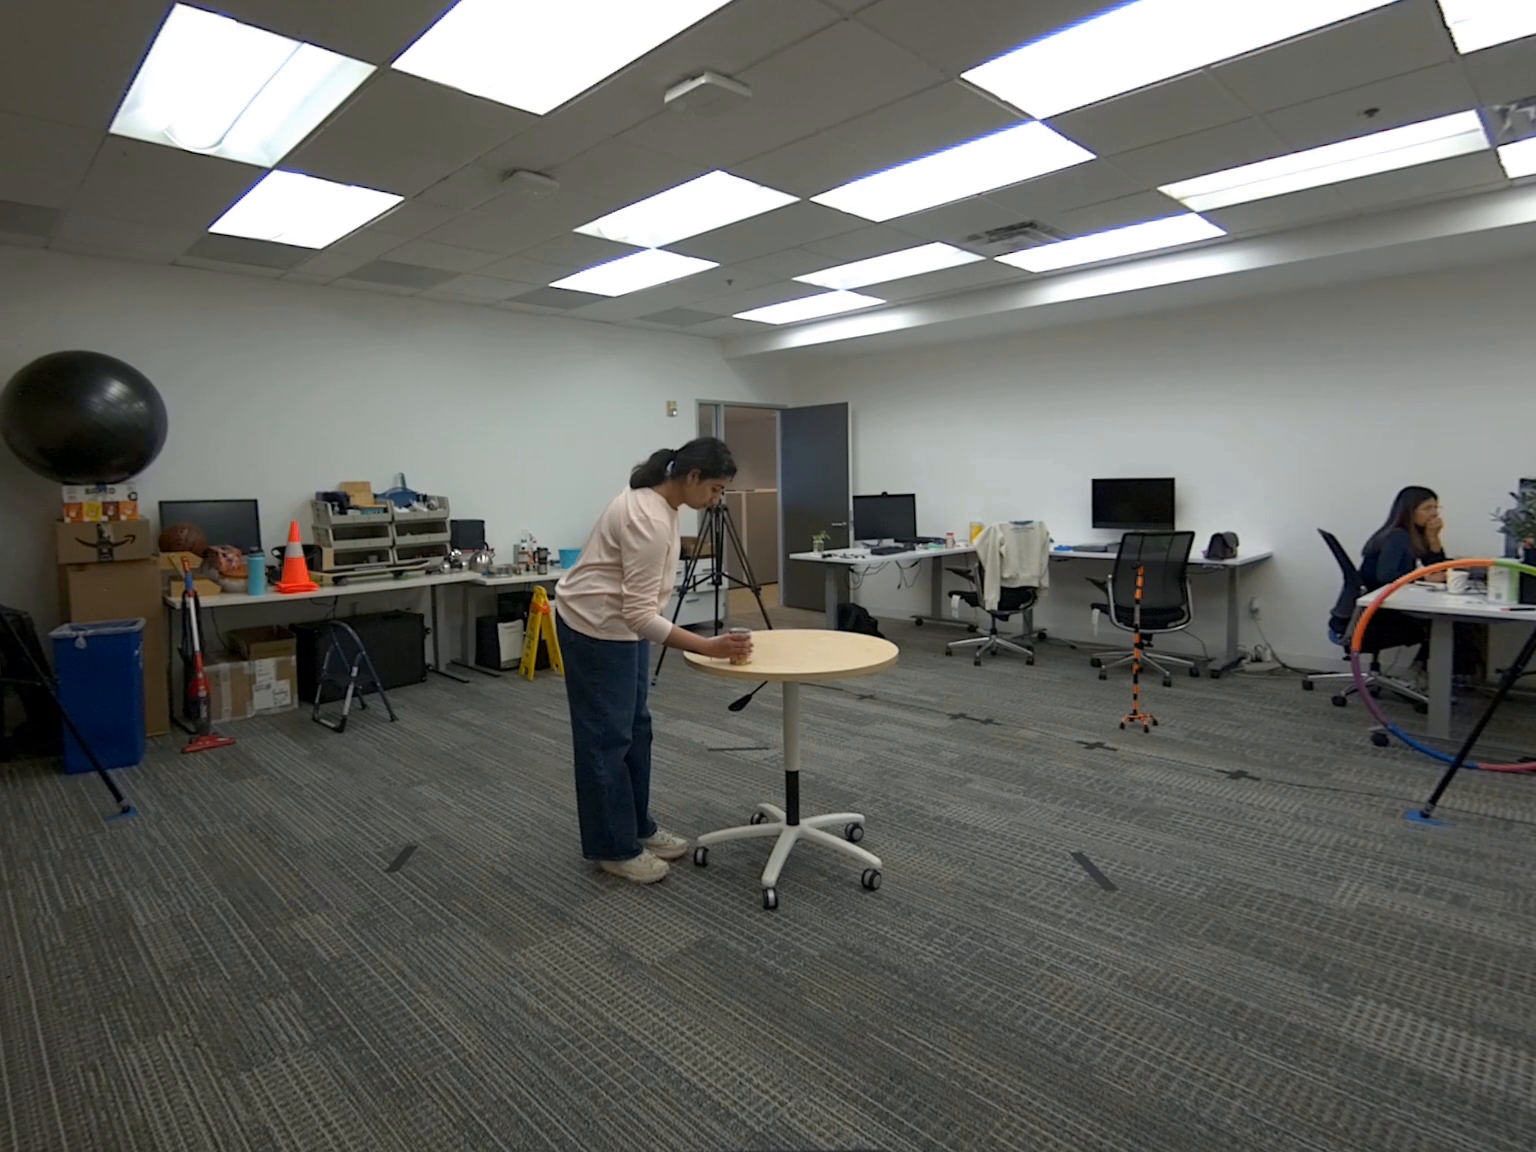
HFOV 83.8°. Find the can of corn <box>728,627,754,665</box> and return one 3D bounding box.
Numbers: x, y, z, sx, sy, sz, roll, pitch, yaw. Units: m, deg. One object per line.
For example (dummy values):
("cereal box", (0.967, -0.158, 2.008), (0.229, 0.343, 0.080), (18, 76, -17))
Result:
("can of corn", (-0.097, 0.237, 2.858), (0.074, 0.110, 0.074), (-3, 5, -1))
